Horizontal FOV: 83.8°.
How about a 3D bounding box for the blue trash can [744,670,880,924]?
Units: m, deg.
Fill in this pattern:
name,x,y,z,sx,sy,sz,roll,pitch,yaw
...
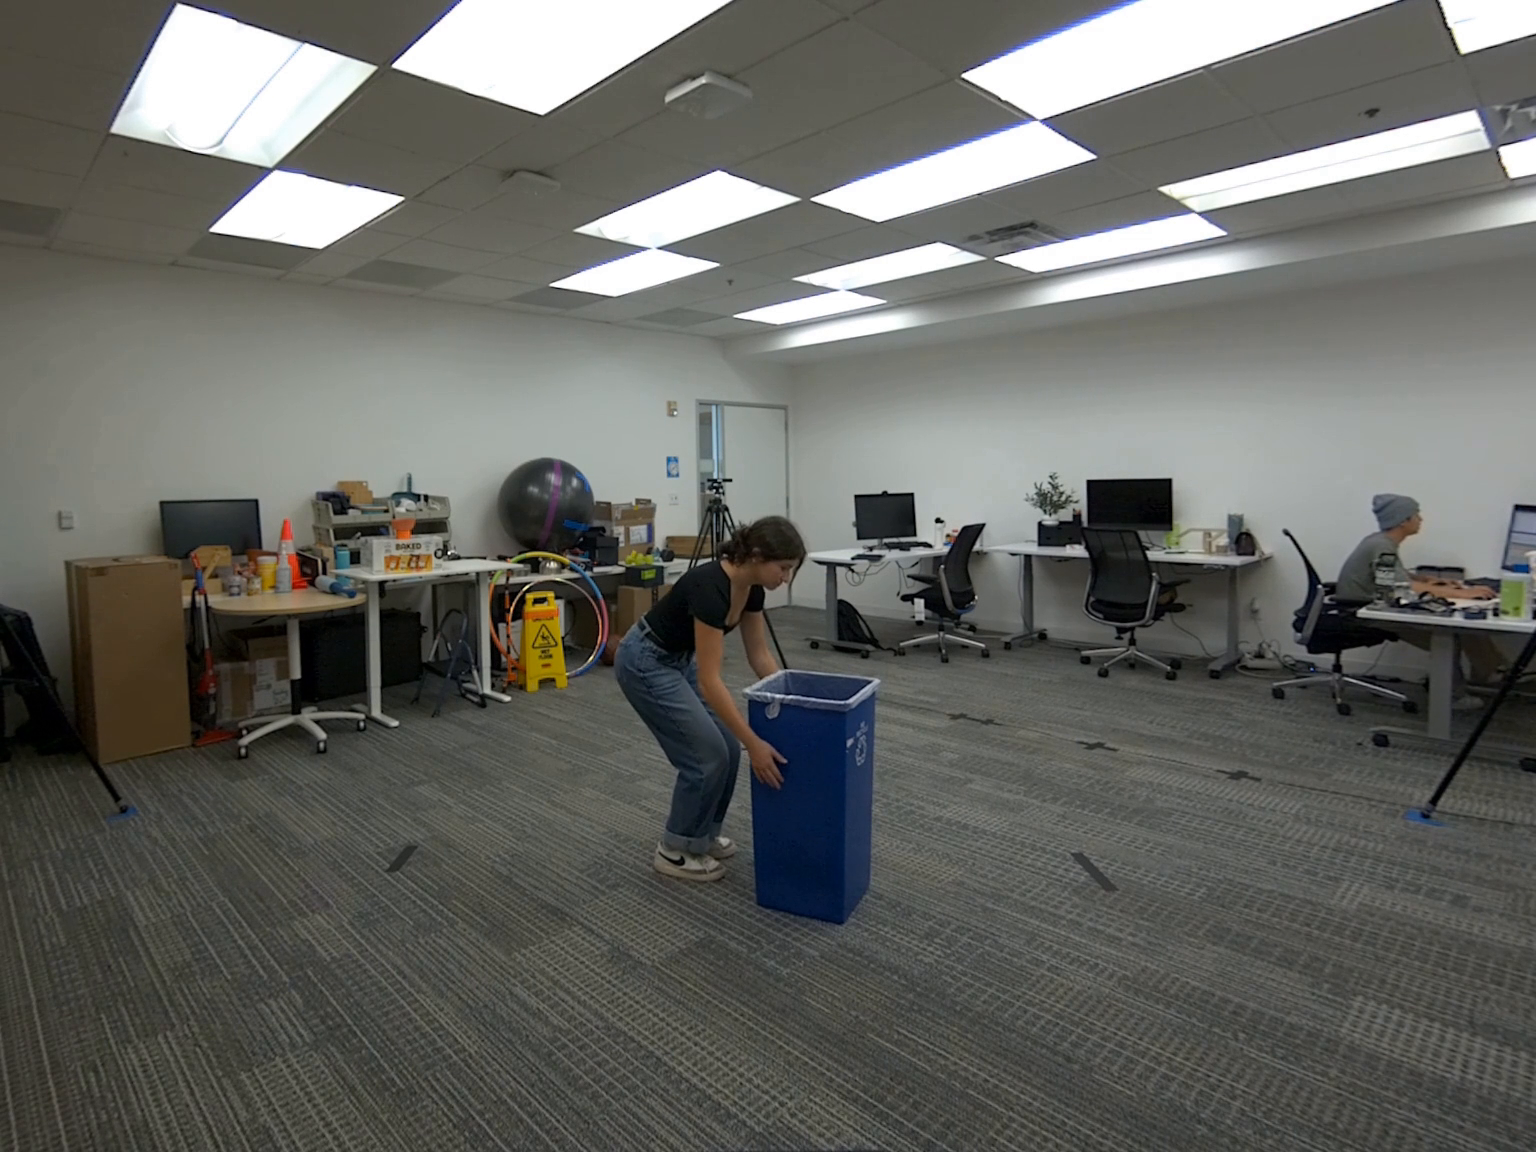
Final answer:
name,x,y,z,sx,sy,sz,roll,pitch,yaw
blue trash can,0.156,0.712,2.847,0.387,0.711,0.367,1,5,25
